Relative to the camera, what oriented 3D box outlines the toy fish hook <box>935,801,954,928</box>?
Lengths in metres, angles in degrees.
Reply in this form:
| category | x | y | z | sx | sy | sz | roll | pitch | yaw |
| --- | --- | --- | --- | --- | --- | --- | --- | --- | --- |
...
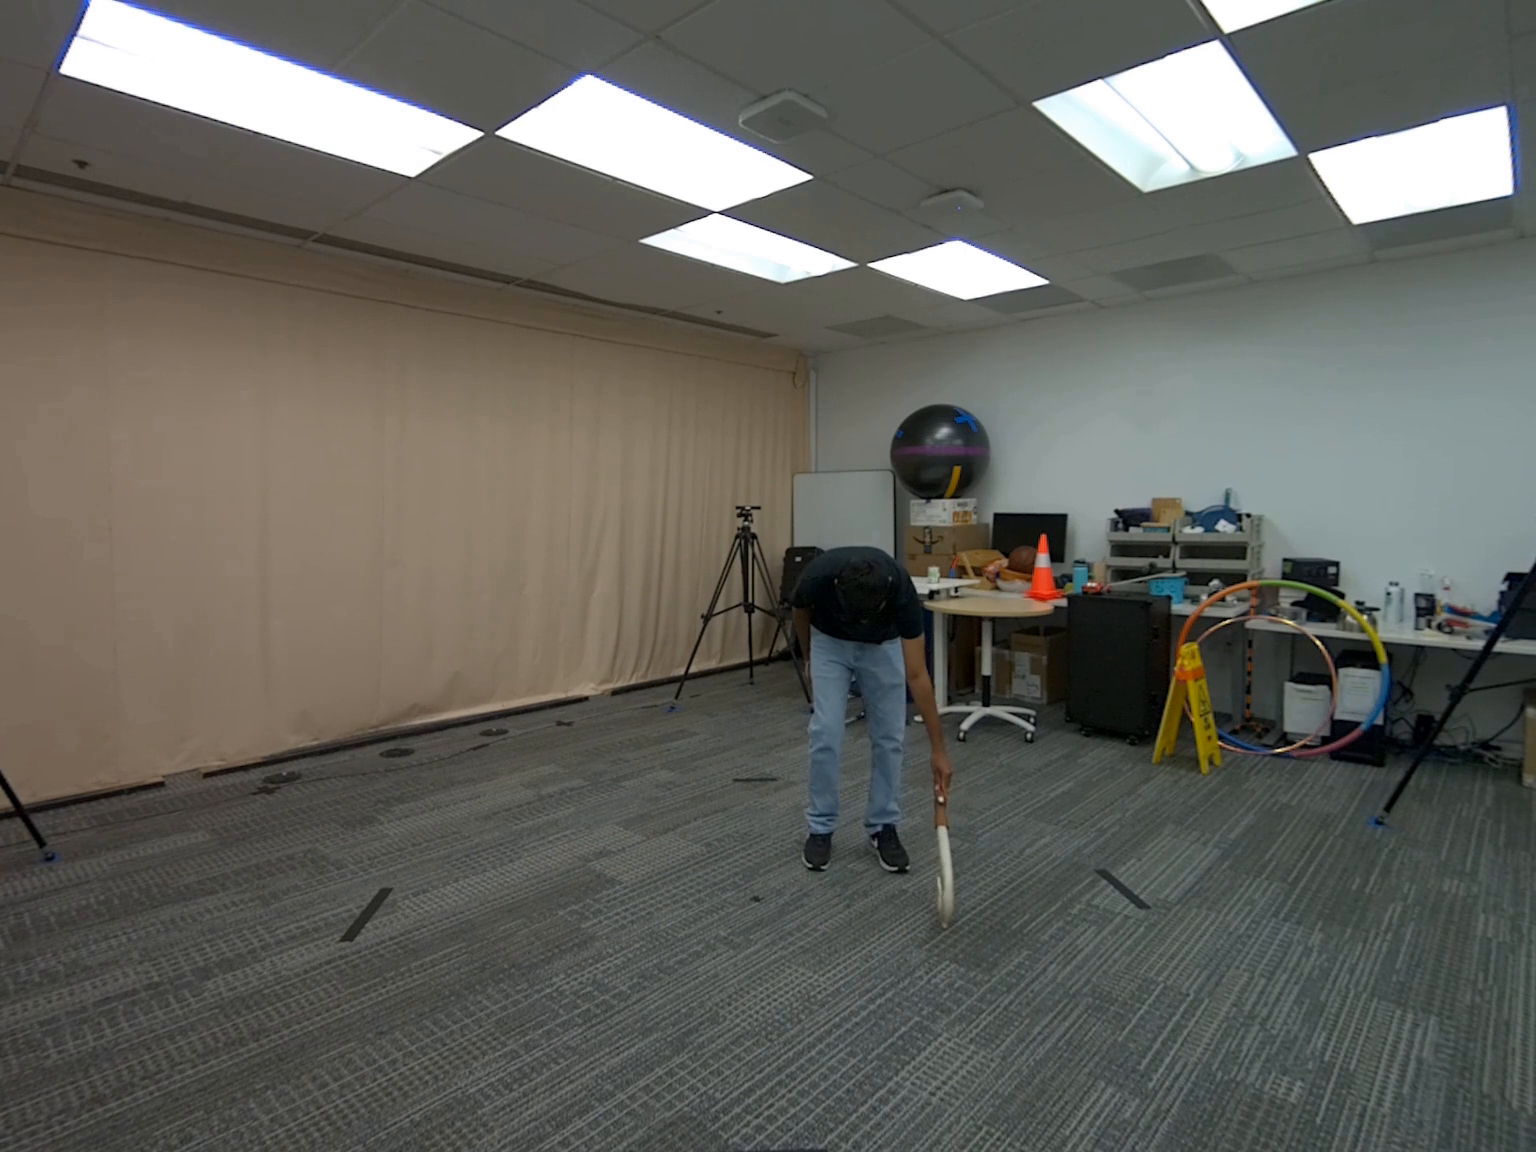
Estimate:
| category | x | y | z | sx | sy | sz | roll | pitch | yaw |
| --- | --- | --- | --- | --- | --- | --- | --- | --- | --- |
| toy fish hook | 0.599 | 0.947 | 2.918 | 0.048 | 0.220 | 0.513 | 6 | 45 | 2 |
